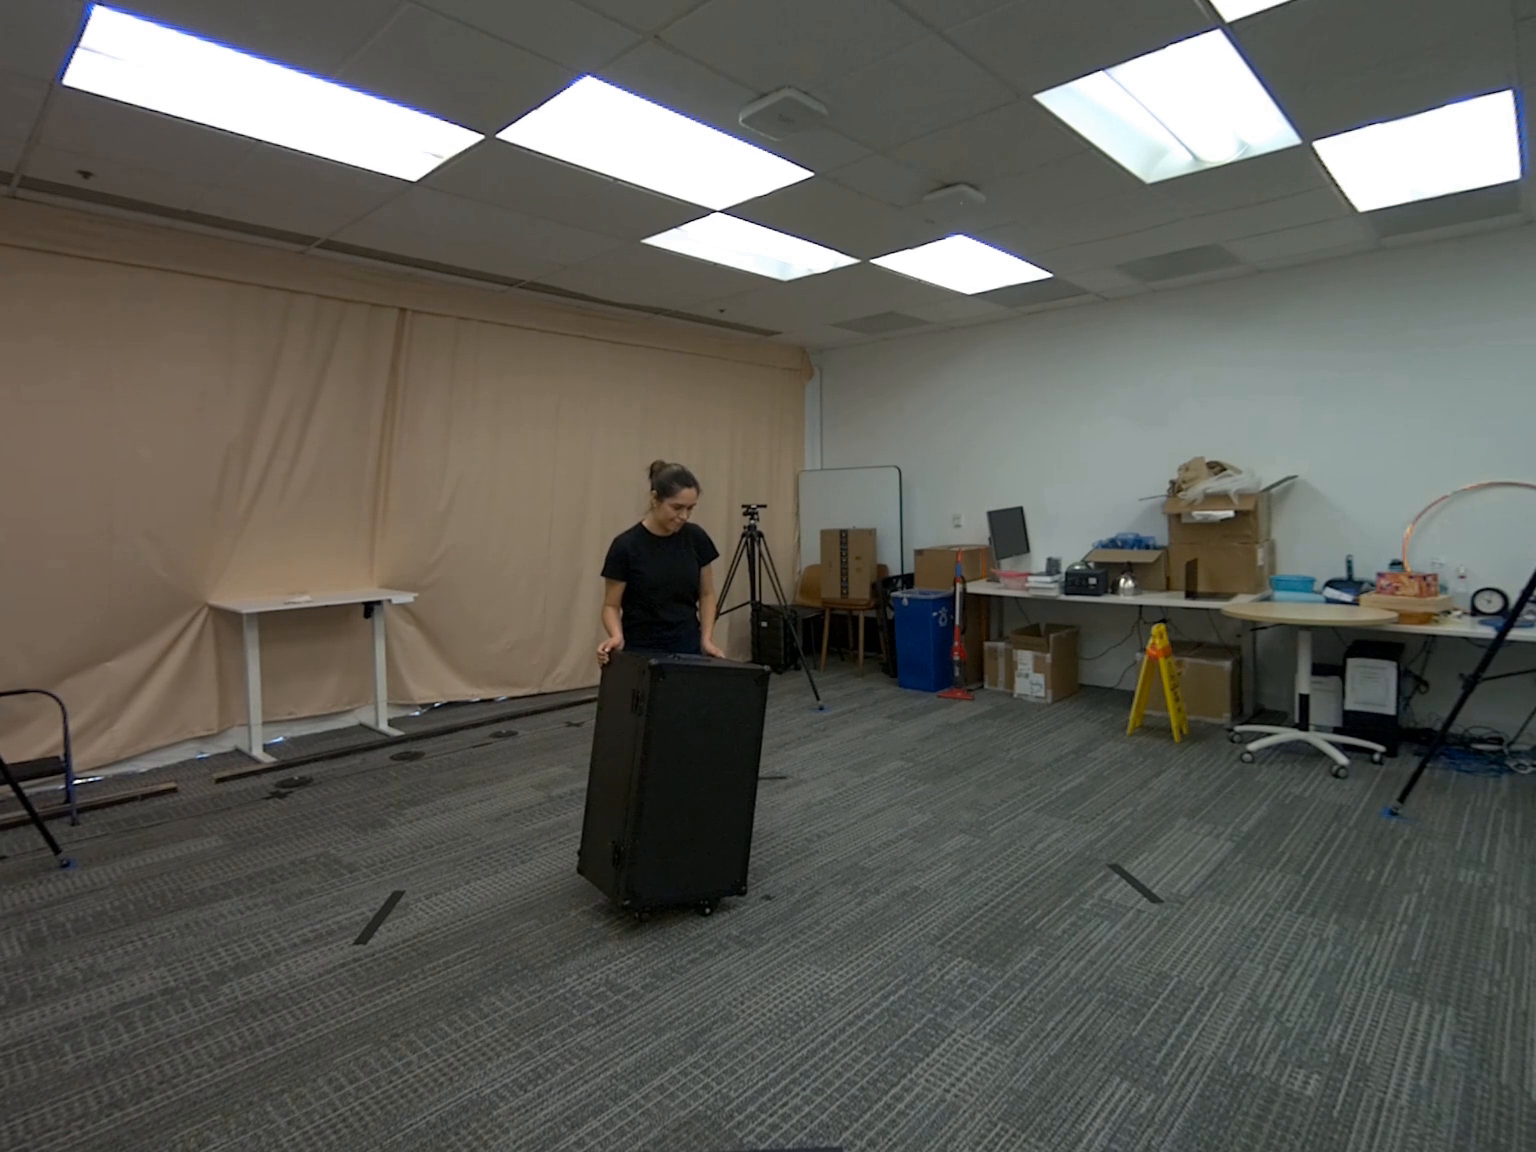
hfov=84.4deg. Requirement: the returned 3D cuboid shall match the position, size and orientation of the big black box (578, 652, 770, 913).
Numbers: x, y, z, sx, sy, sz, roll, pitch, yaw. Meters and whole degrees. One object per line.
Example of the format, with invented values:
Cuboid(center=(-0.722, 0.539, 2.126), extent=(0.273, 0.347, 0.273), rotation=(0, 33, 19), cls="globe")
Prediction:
Cuboid(center=(-0.330, 0.707, 2.935), extent=(0.505, 0.863, 0.408), rotation=(8, -4, -35), cls="big black box")
